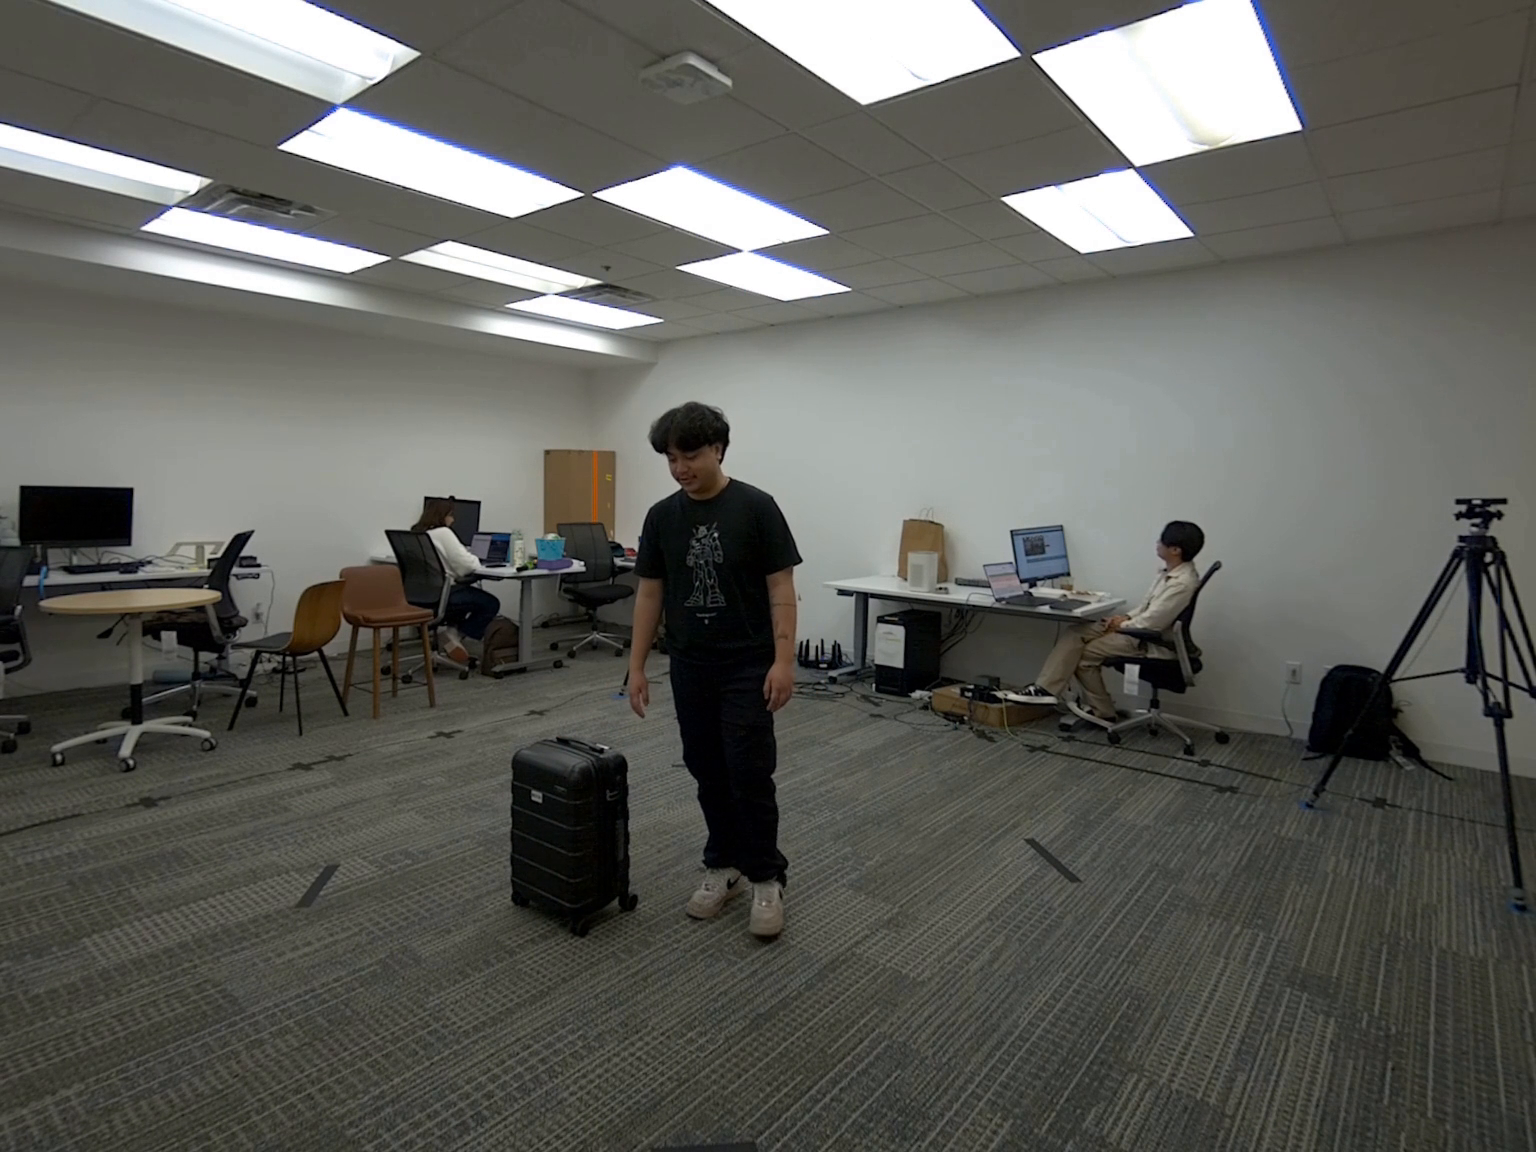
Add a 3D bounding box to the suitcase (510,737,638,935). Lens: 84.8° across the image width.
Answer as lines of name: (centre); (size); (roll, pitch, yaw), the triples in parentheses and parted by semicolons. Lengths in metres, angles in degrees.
suitcase: (-0.655, 0.817, 2.783); (0.388, 0.546, 0.241); (5, 8, 39)
